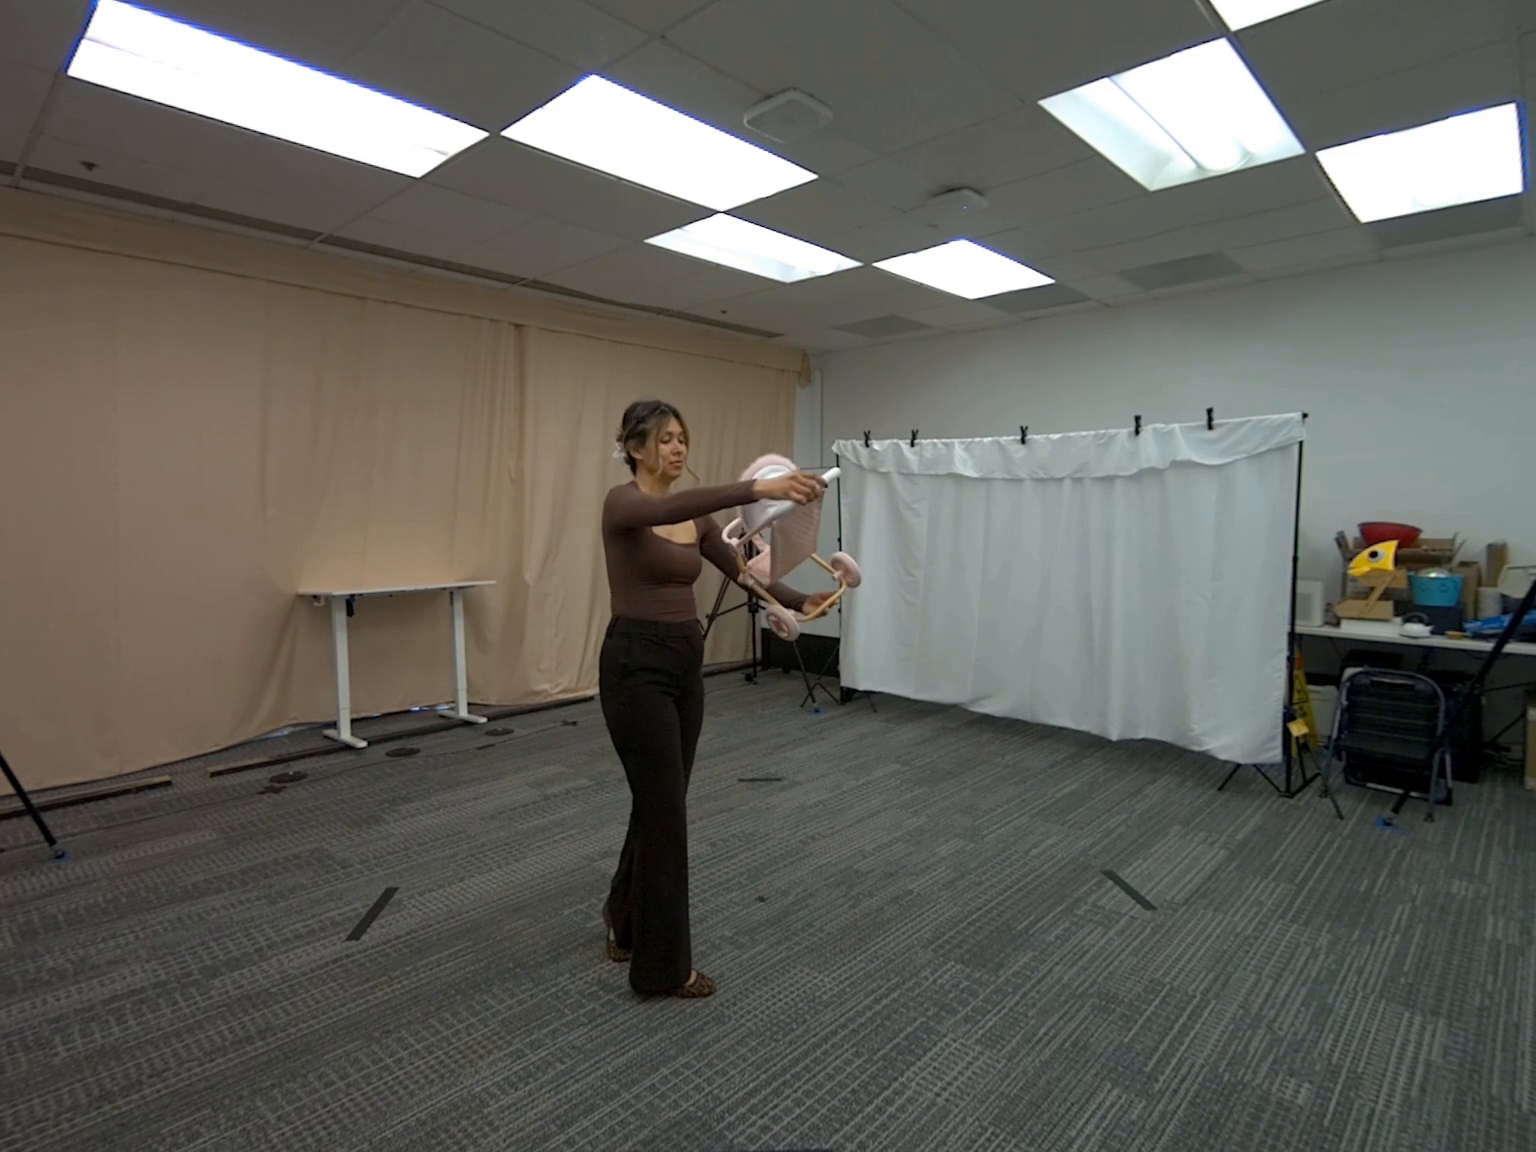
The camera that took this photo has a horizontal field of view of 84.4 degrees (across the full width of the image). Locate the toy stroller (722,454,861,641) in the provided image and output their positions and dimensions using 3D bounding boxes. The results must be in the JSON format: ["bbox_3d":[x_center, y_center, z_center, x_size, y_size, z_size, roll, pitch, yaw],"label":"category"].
[{"bbox_3d":[0.037,-0.100,2.219,0.278,0.521,0.354,-34,48,-22],"label":"toy stroller"}]
